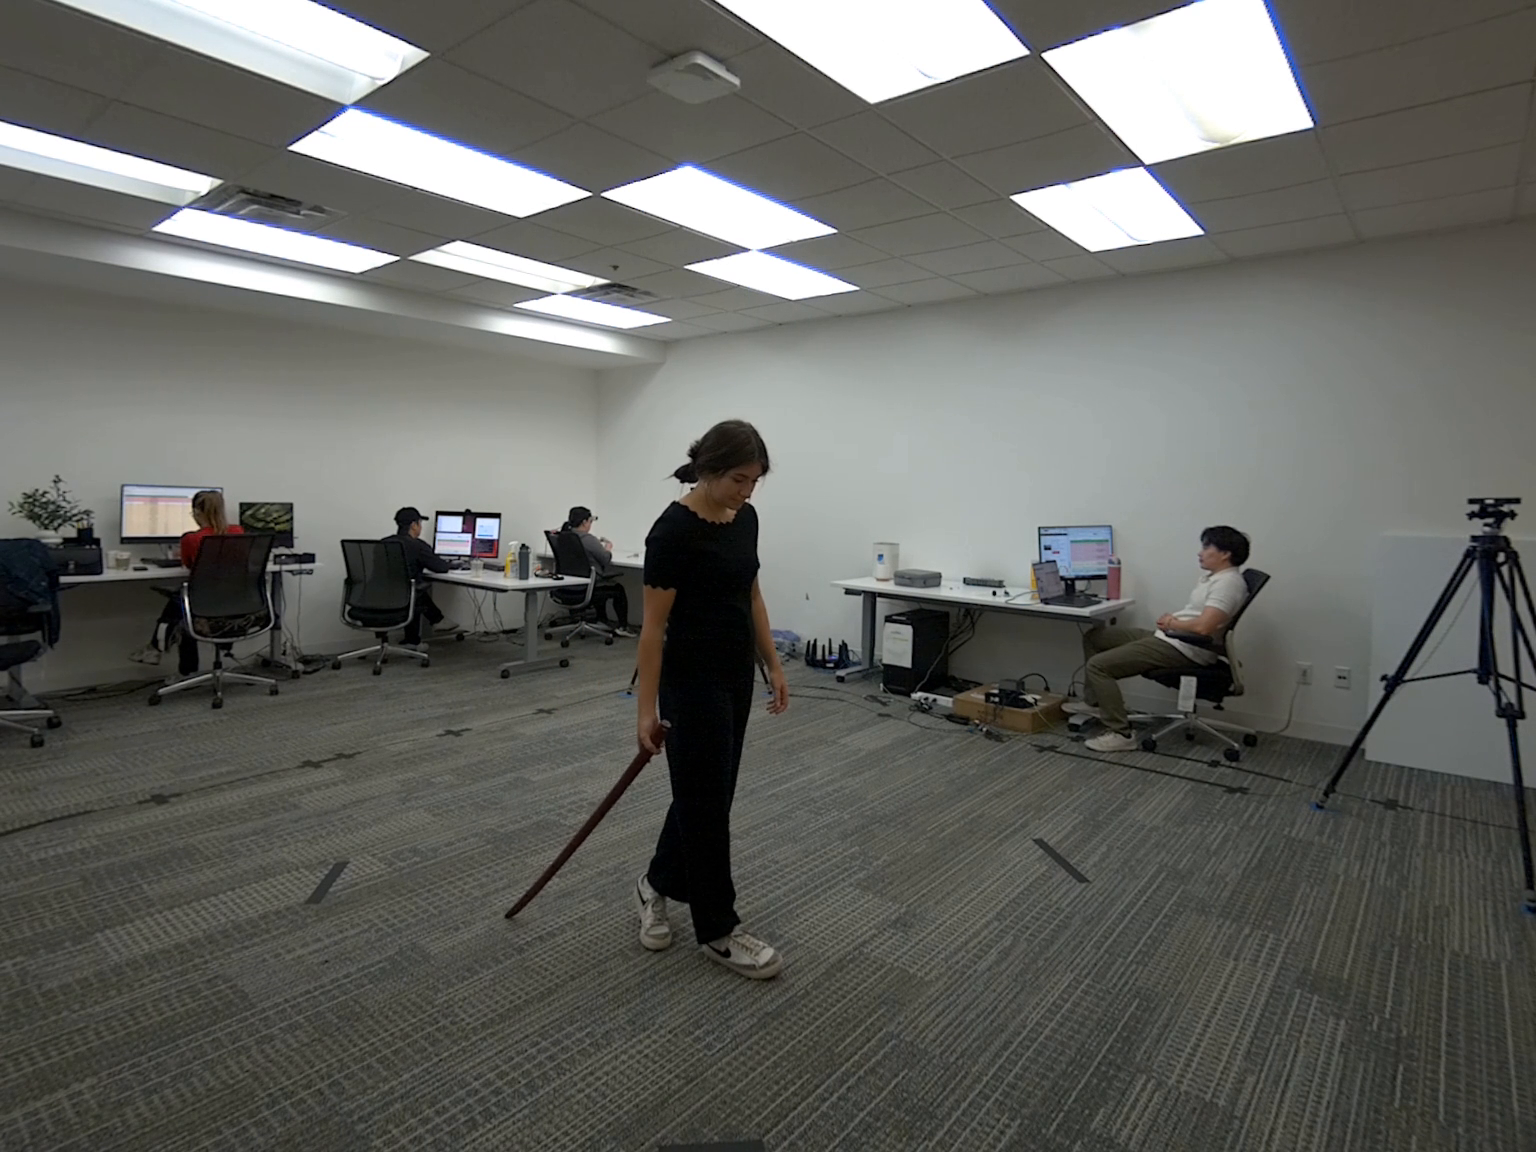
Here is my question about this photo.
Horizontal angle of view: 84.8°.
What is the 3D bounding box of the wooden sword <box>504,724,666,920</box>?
[{"bbox_3d":[-0.561,0.753,2.499,0.024,1.022,0.051,42,30,5],"label":"wooden sword"}]
